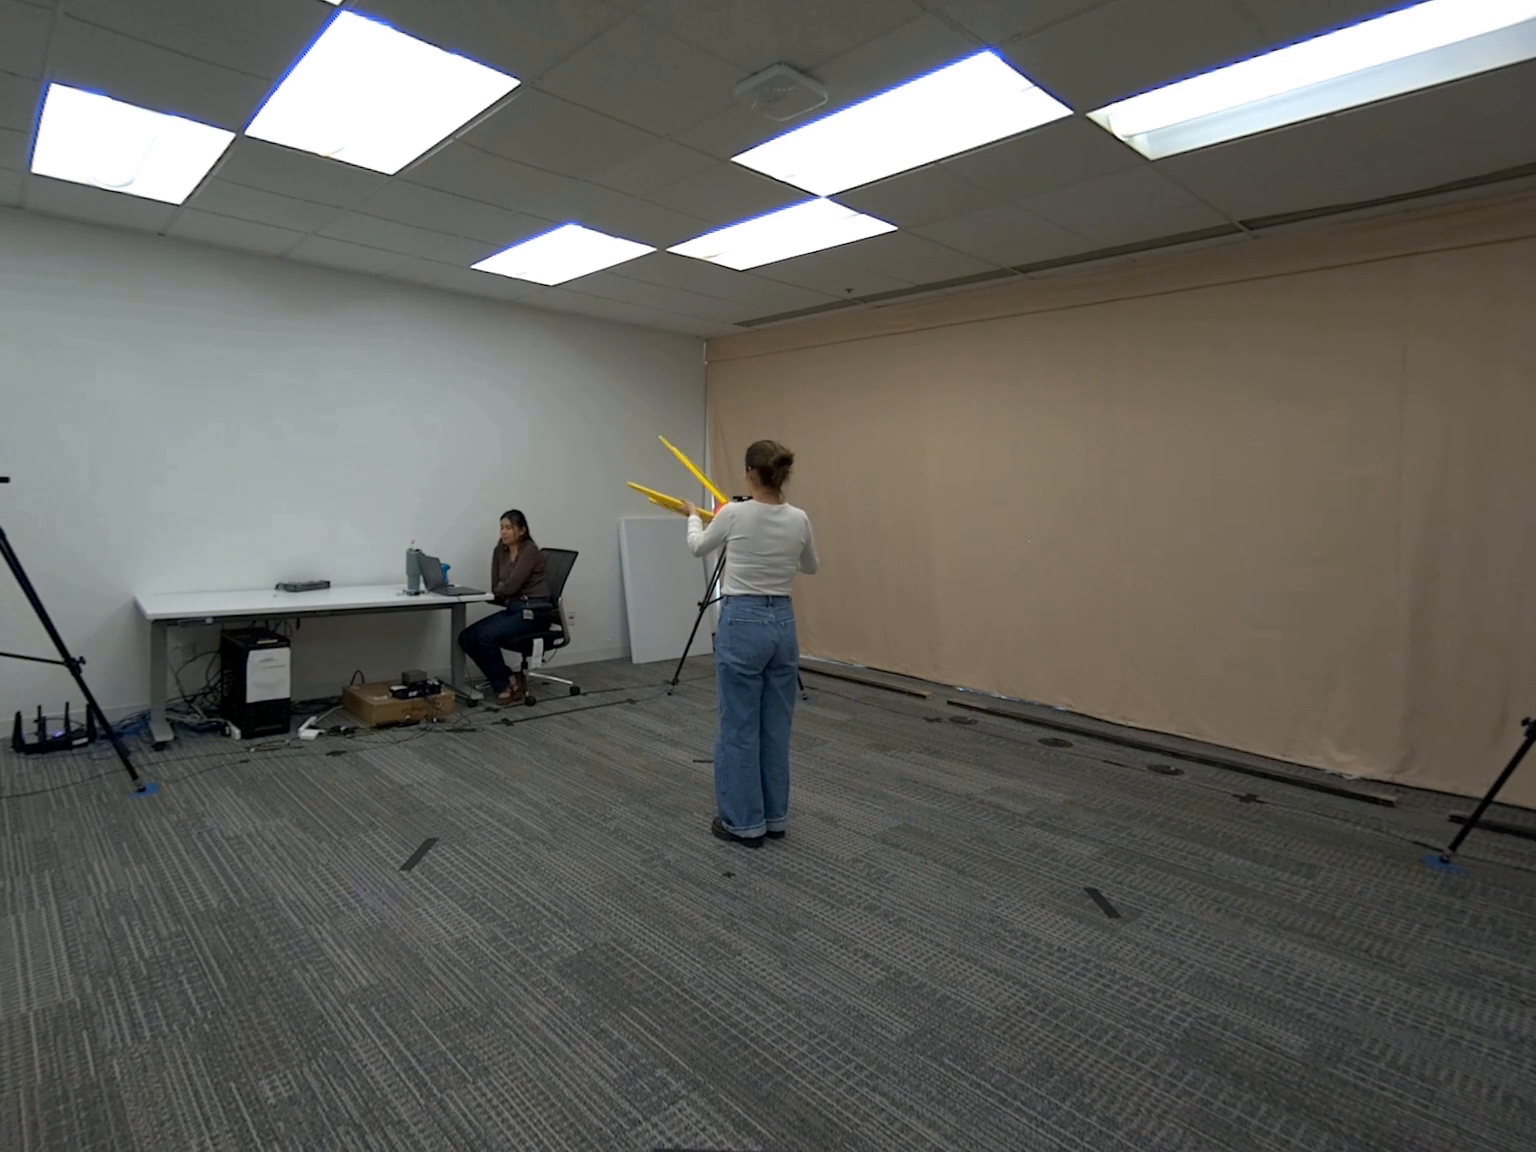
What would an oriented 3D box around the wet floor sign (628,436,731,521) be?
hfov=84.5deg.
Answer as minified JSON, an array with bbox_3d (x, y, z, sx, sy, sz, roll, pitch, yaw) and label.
[{"bbox_3d":[-0.301,-0.331,3.849,0.664,0.290,0.274,35,-1,29],"label":"wet floor sign"}]
